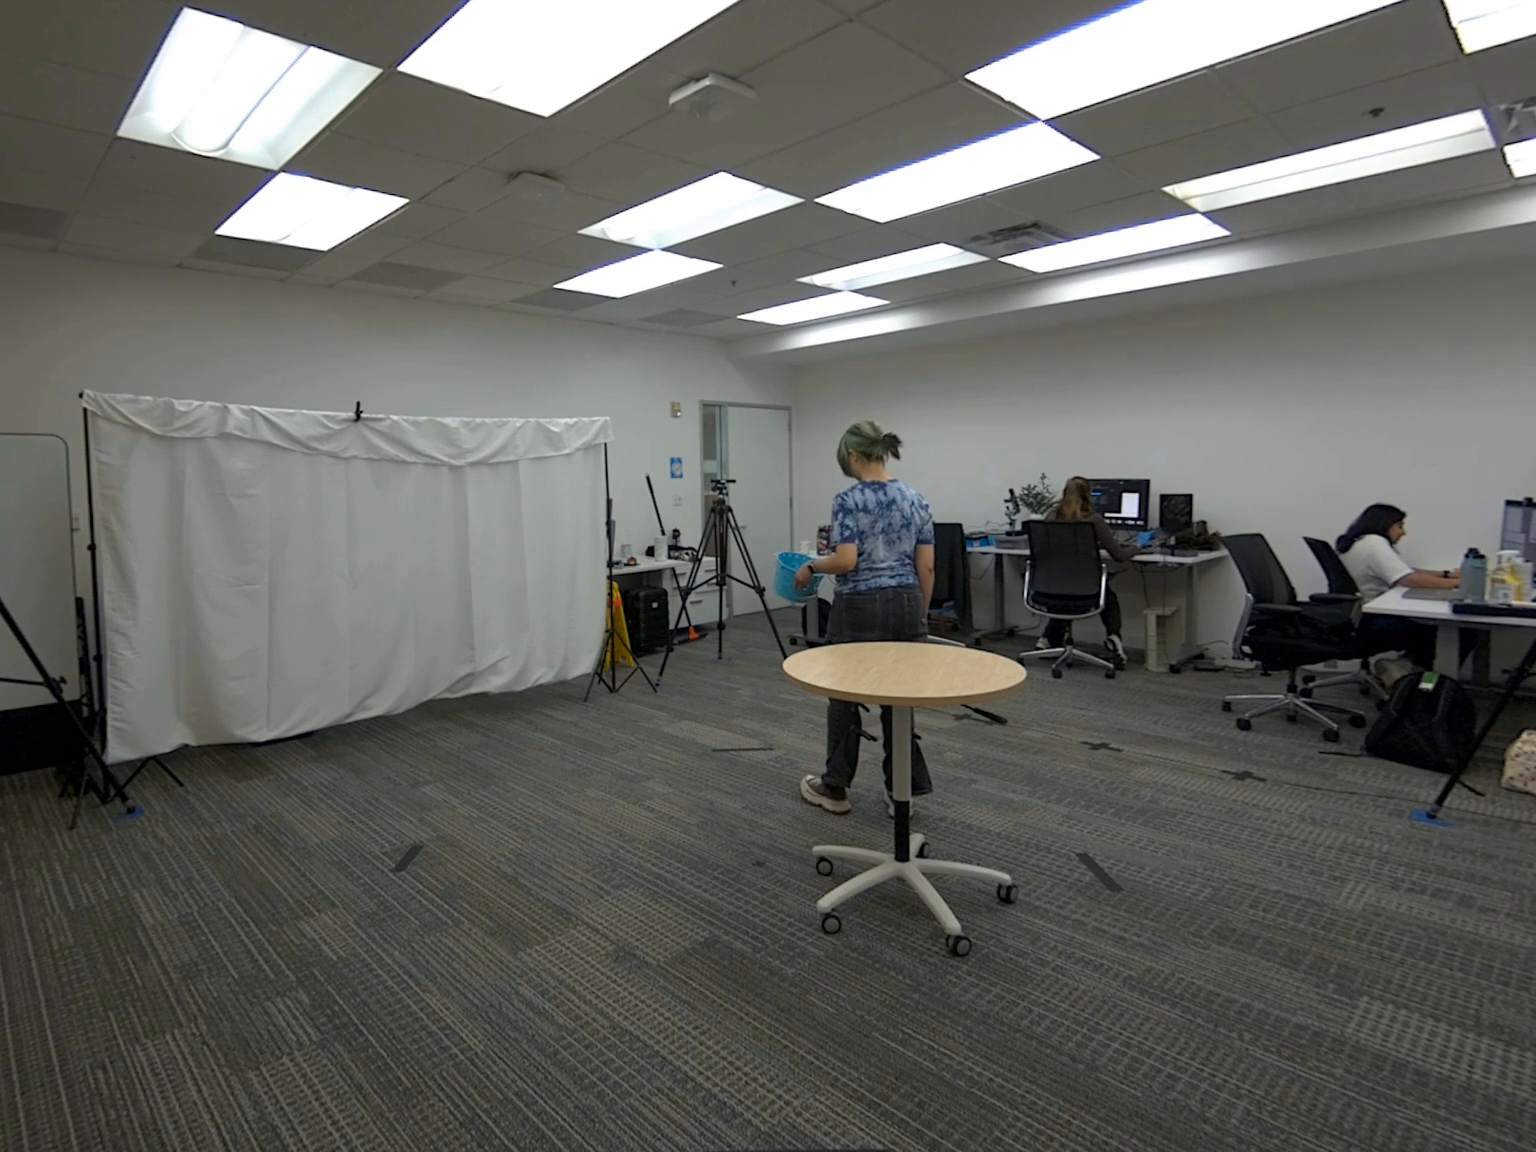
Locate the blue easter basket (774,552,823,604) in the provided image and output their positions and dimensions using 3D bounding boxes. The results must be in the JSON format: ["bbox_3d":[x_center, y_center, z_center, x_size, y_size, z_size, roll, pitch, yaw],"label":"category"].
[{"bbox_3d":[0.141,0.013,3.821,0.242,0.154,0.248,10,22,-6],"label":"blue easter basket"}]
